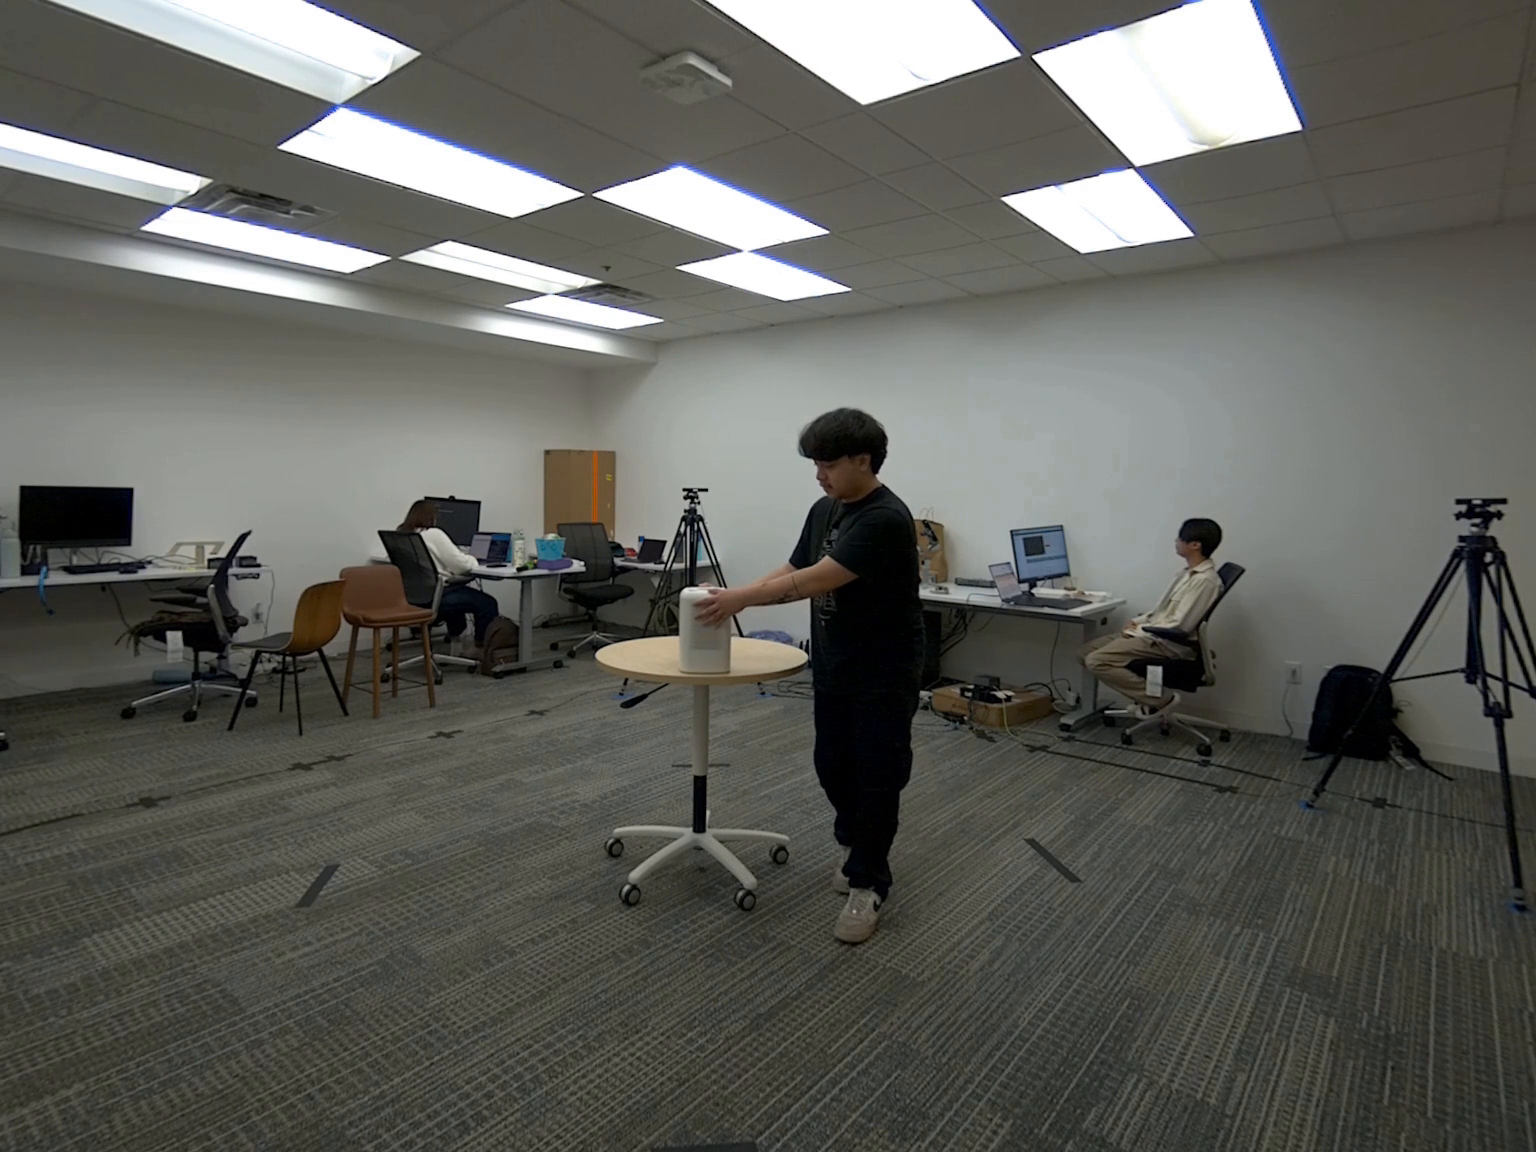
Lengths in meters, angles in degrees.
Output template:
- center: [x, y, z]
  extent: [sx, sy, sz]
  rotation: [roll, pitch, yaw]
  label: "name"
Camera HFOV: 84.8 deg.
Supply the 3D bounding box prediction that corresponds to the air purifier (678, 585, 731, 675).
- center: [-0.219, 0.174, 2.816]
  extent: [0.171, 0.264, 0.172]
  rotation: [0, 5, -5]
  label: "air purifier"
